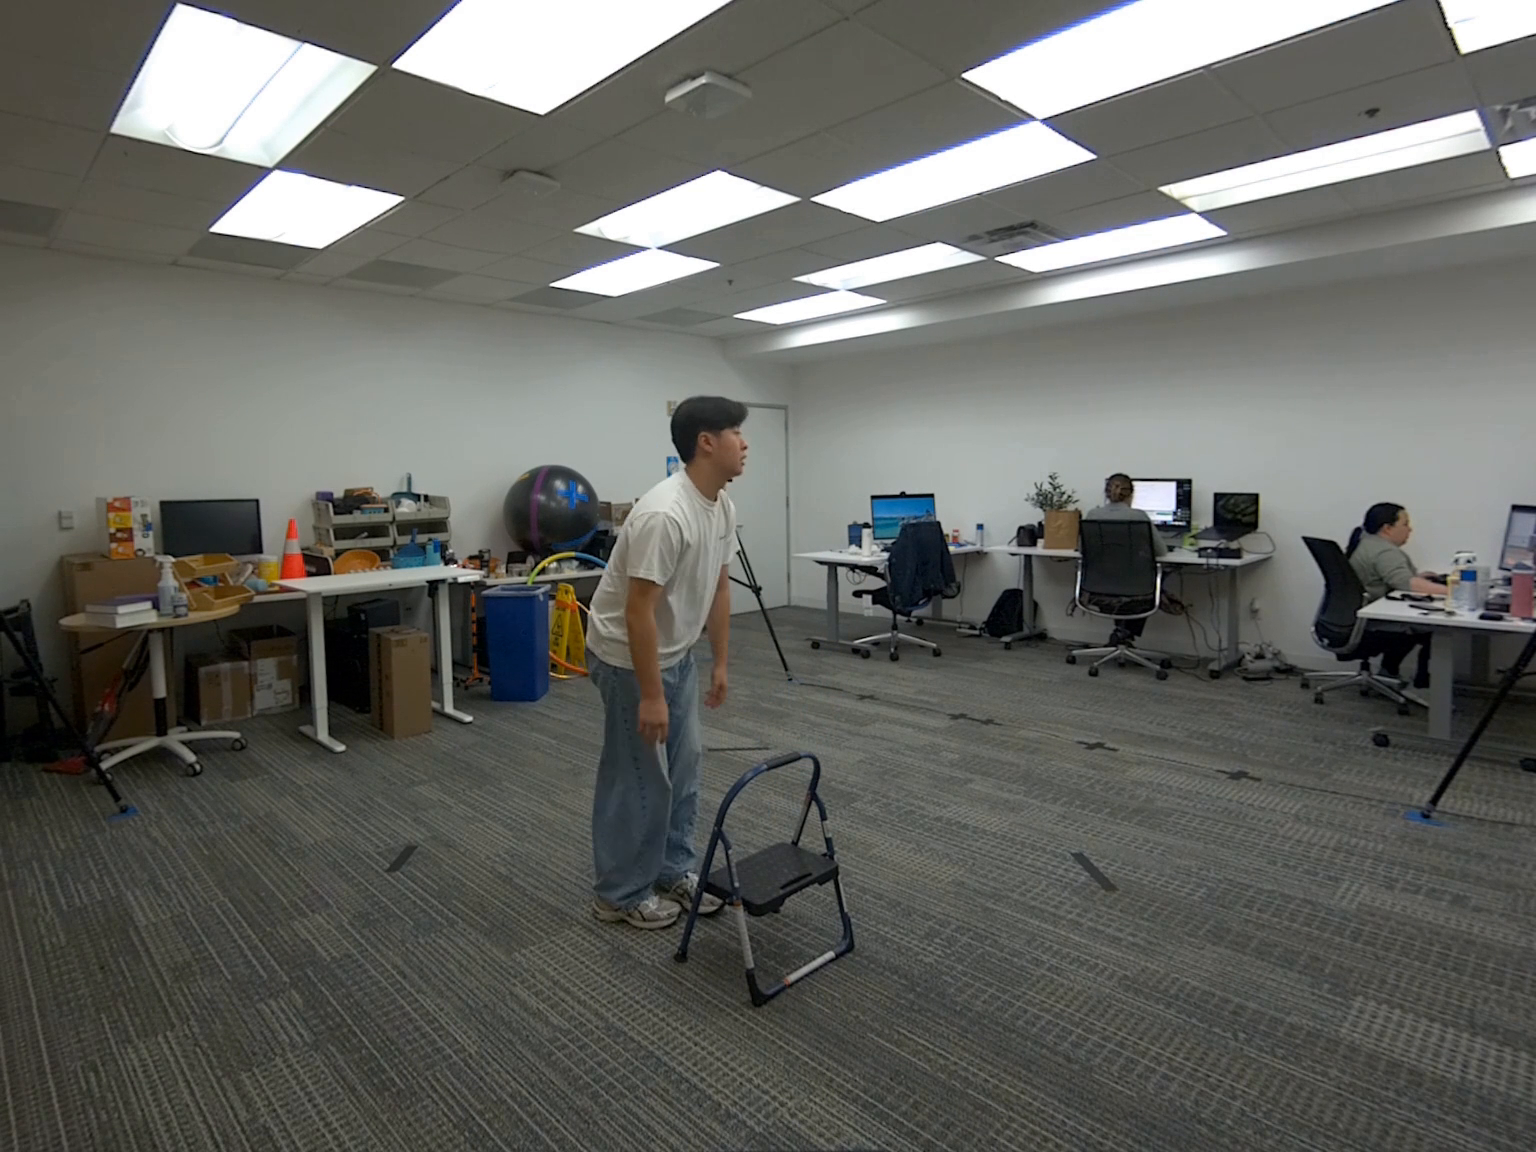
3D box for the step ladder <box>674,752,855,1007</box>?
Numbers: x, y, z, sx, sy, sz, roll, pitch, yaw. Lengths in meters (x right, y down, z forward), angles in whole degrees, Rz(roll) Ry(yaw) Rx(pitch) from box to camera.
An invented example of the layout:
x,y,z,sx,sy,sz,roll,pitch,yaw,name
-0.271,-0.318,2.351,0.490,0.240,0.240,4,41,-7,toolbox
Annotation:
x,y,z,sx,sy,sz,roll,pitch,yaw,name
-0.007,0.809,2.498,0.419,0.604,0.360,-6,6,-45,step ladder
